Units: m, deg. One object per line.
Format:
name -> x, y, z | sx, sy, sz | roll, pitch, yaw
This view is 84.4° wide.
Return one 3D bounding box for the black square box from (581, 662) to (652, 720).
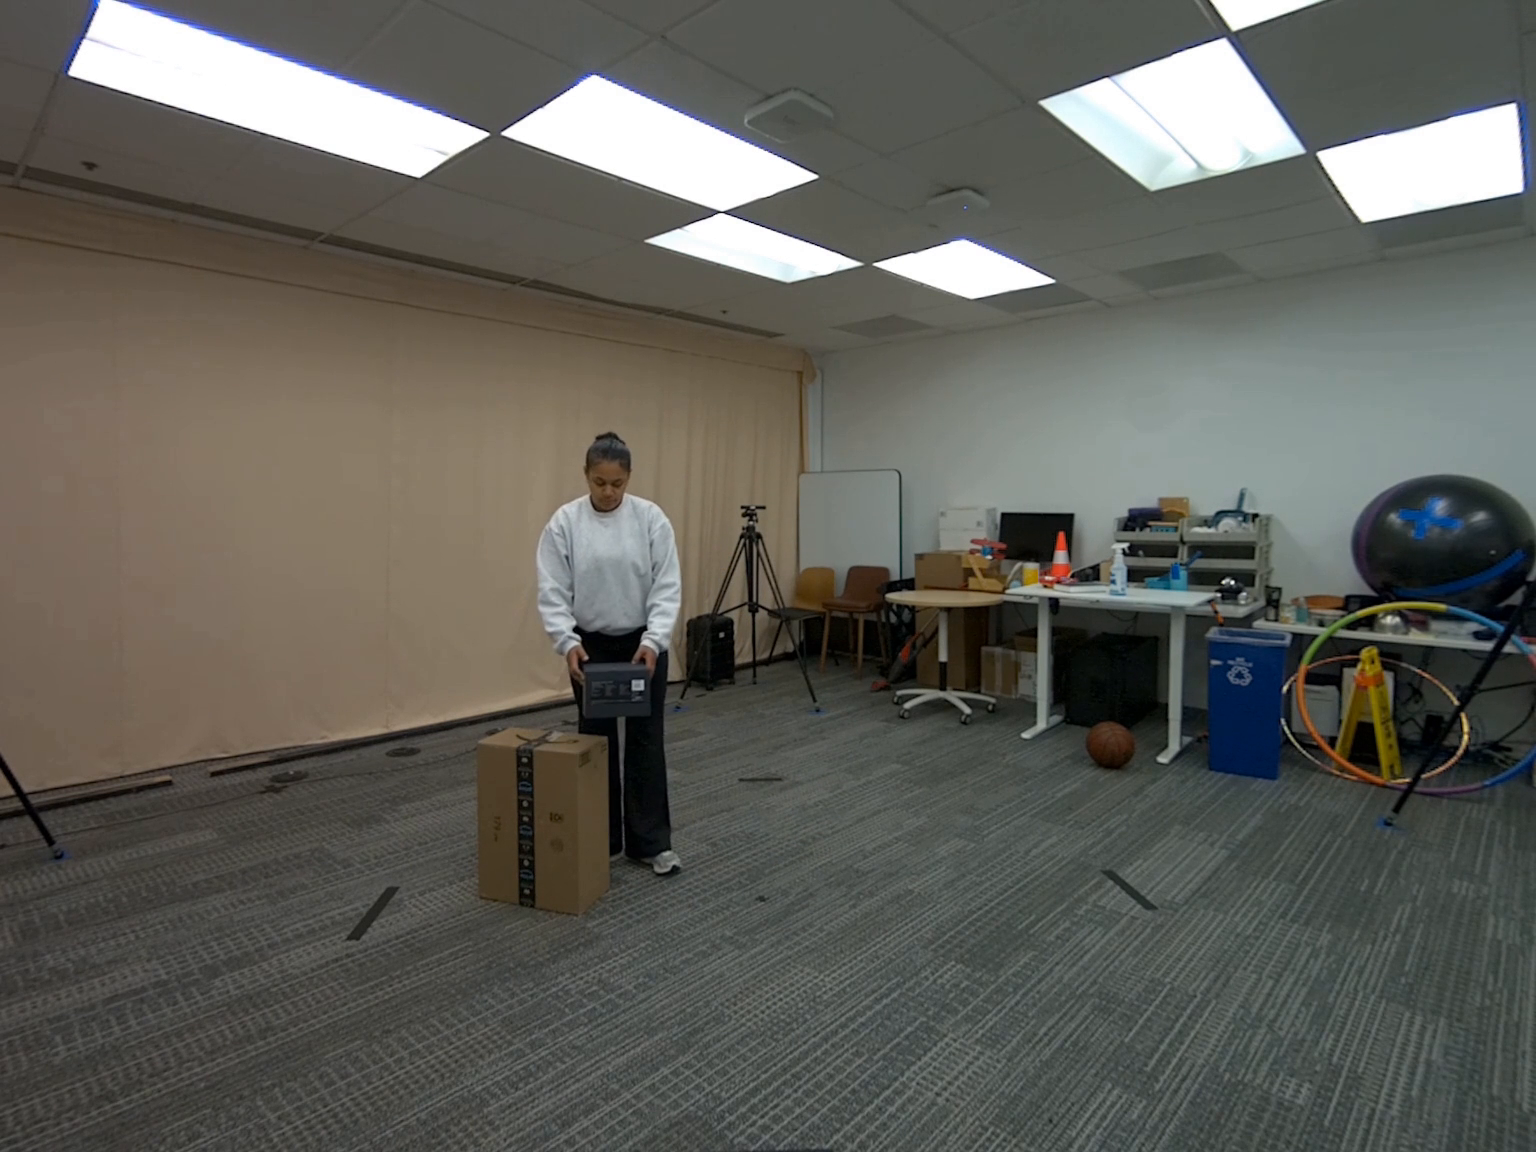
black square box -> -0.520, 0.386, 2.886 | 0.214, 0.156, 0.231 | -1, 1, -13
